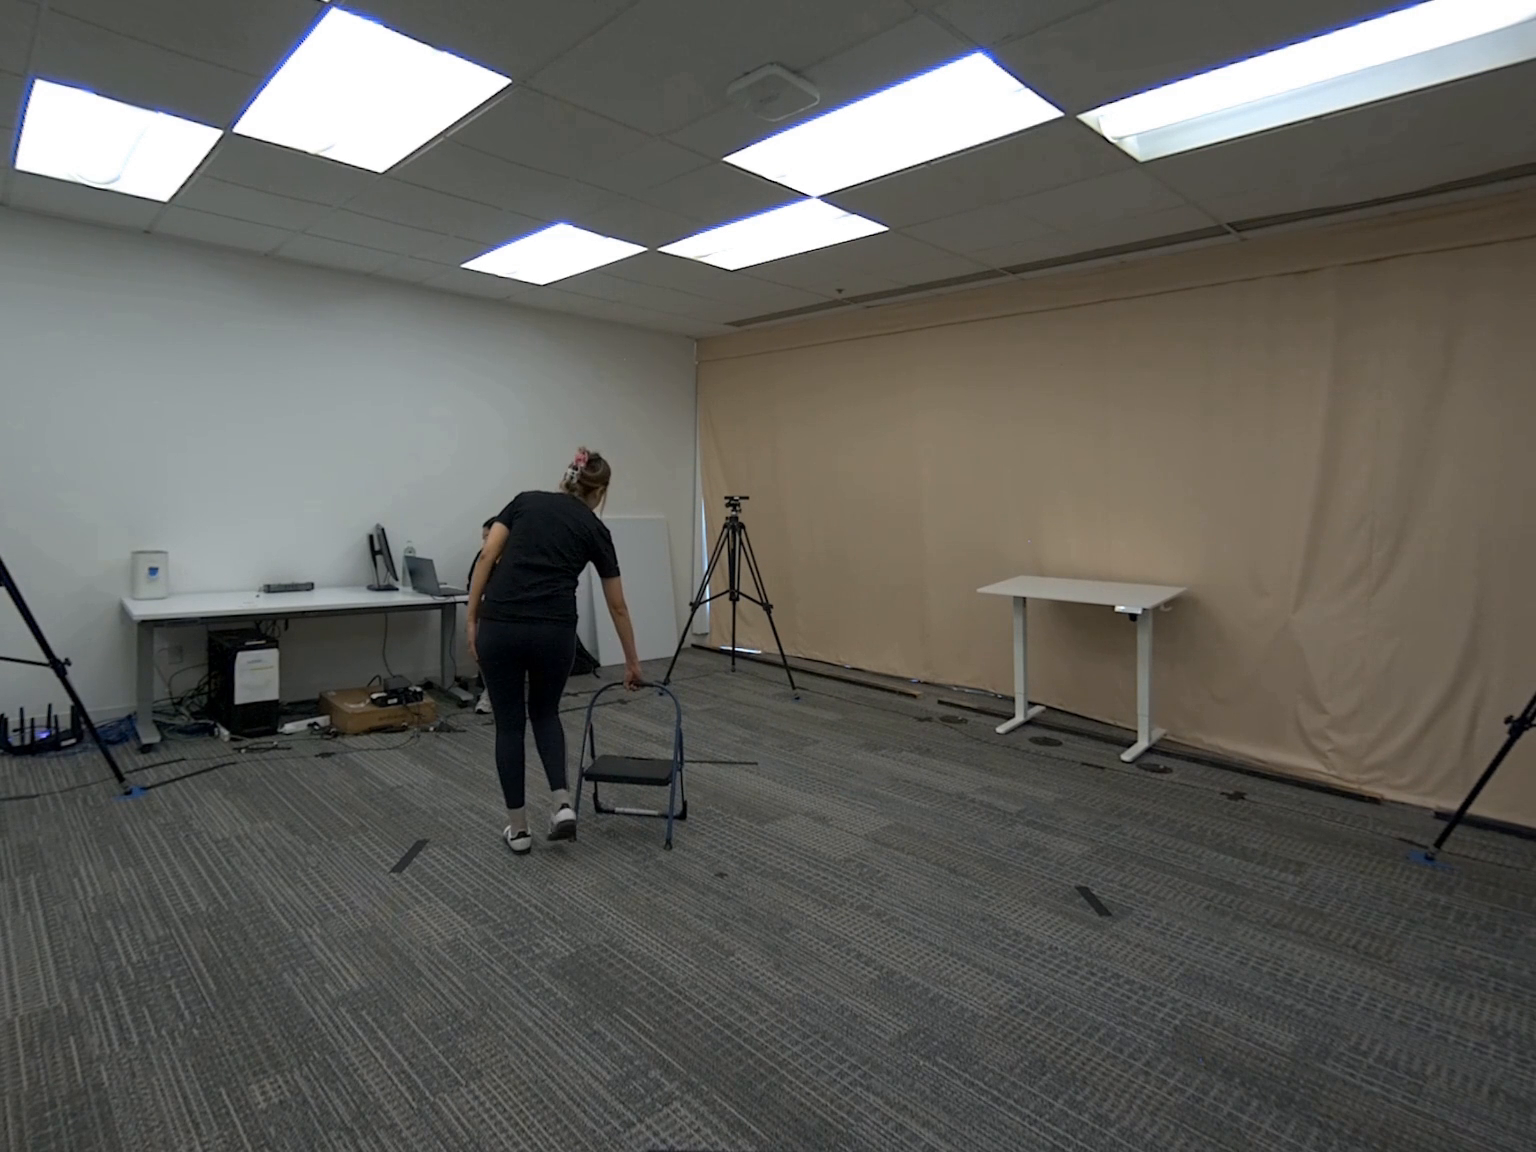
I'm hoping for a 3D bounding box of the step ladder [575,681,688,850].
[{"bbox_3d":[-0.573,0.761,3.502,0.433,0.604,0.348,2,4,7],"label":"step ladder"}]
